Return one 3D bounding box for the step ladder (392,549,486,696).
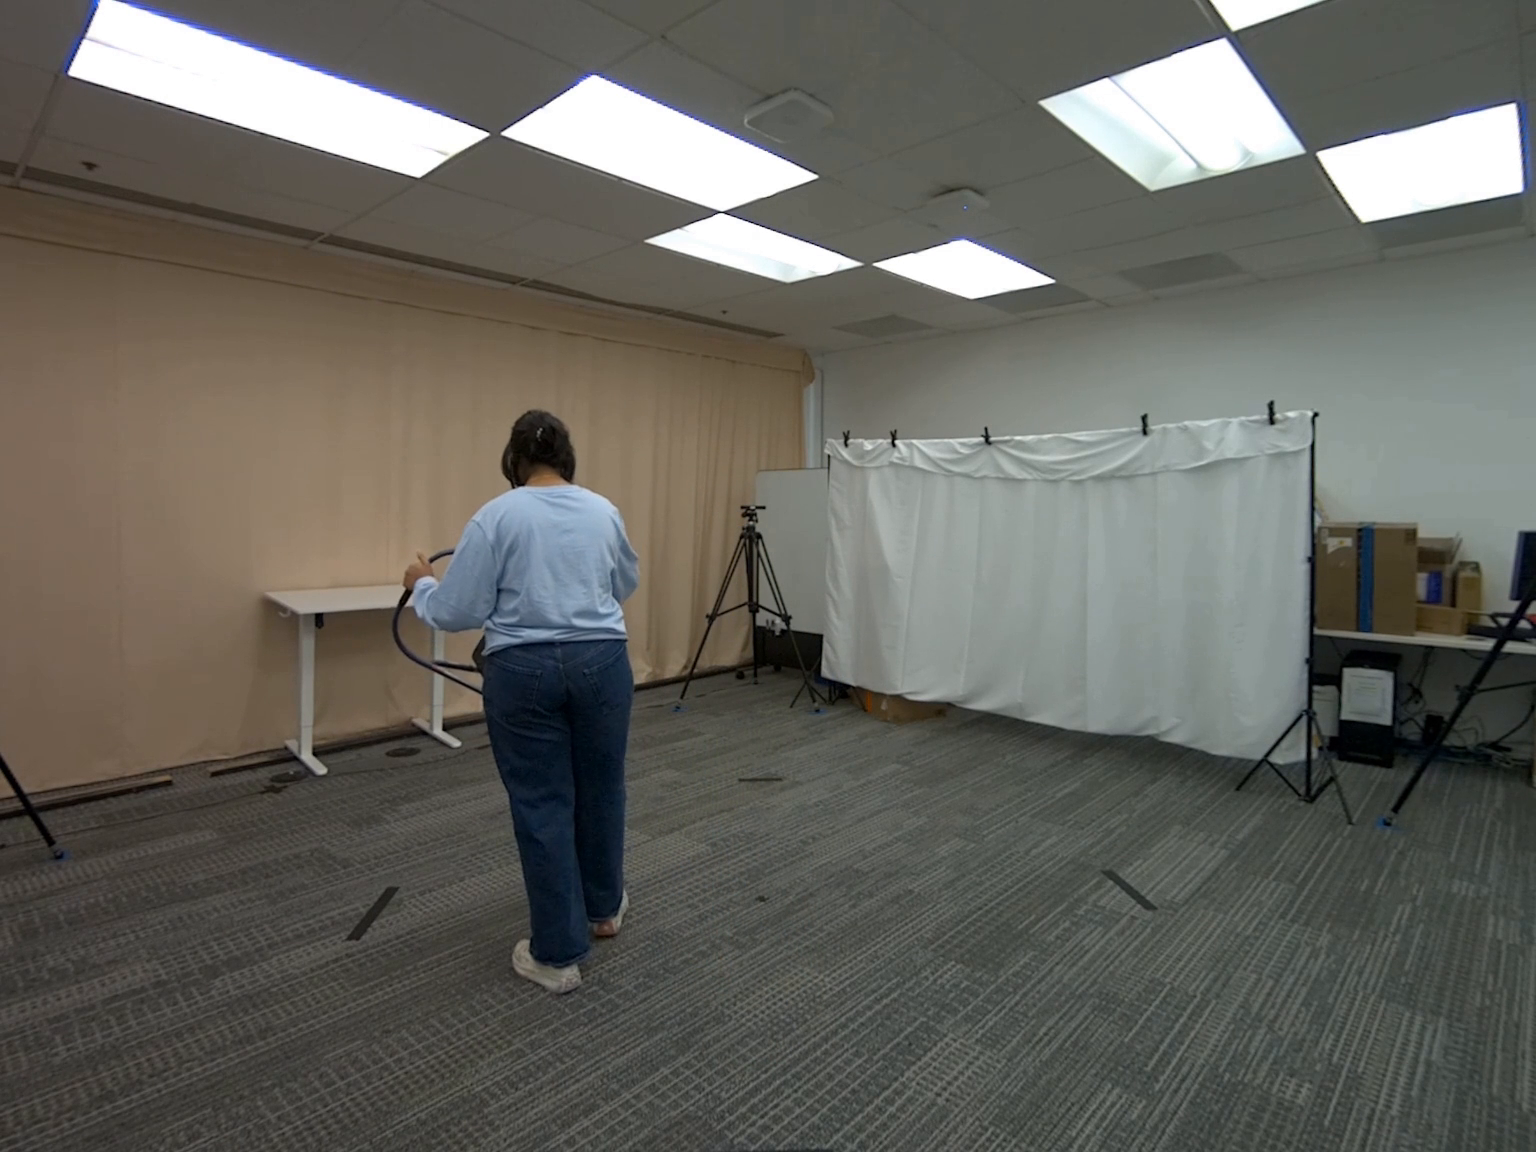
[{"bbox_3d":[-0.864,0.173,2.713,0.584,0.430,0.362,25,8,-40],"label":"step ladder"}]
